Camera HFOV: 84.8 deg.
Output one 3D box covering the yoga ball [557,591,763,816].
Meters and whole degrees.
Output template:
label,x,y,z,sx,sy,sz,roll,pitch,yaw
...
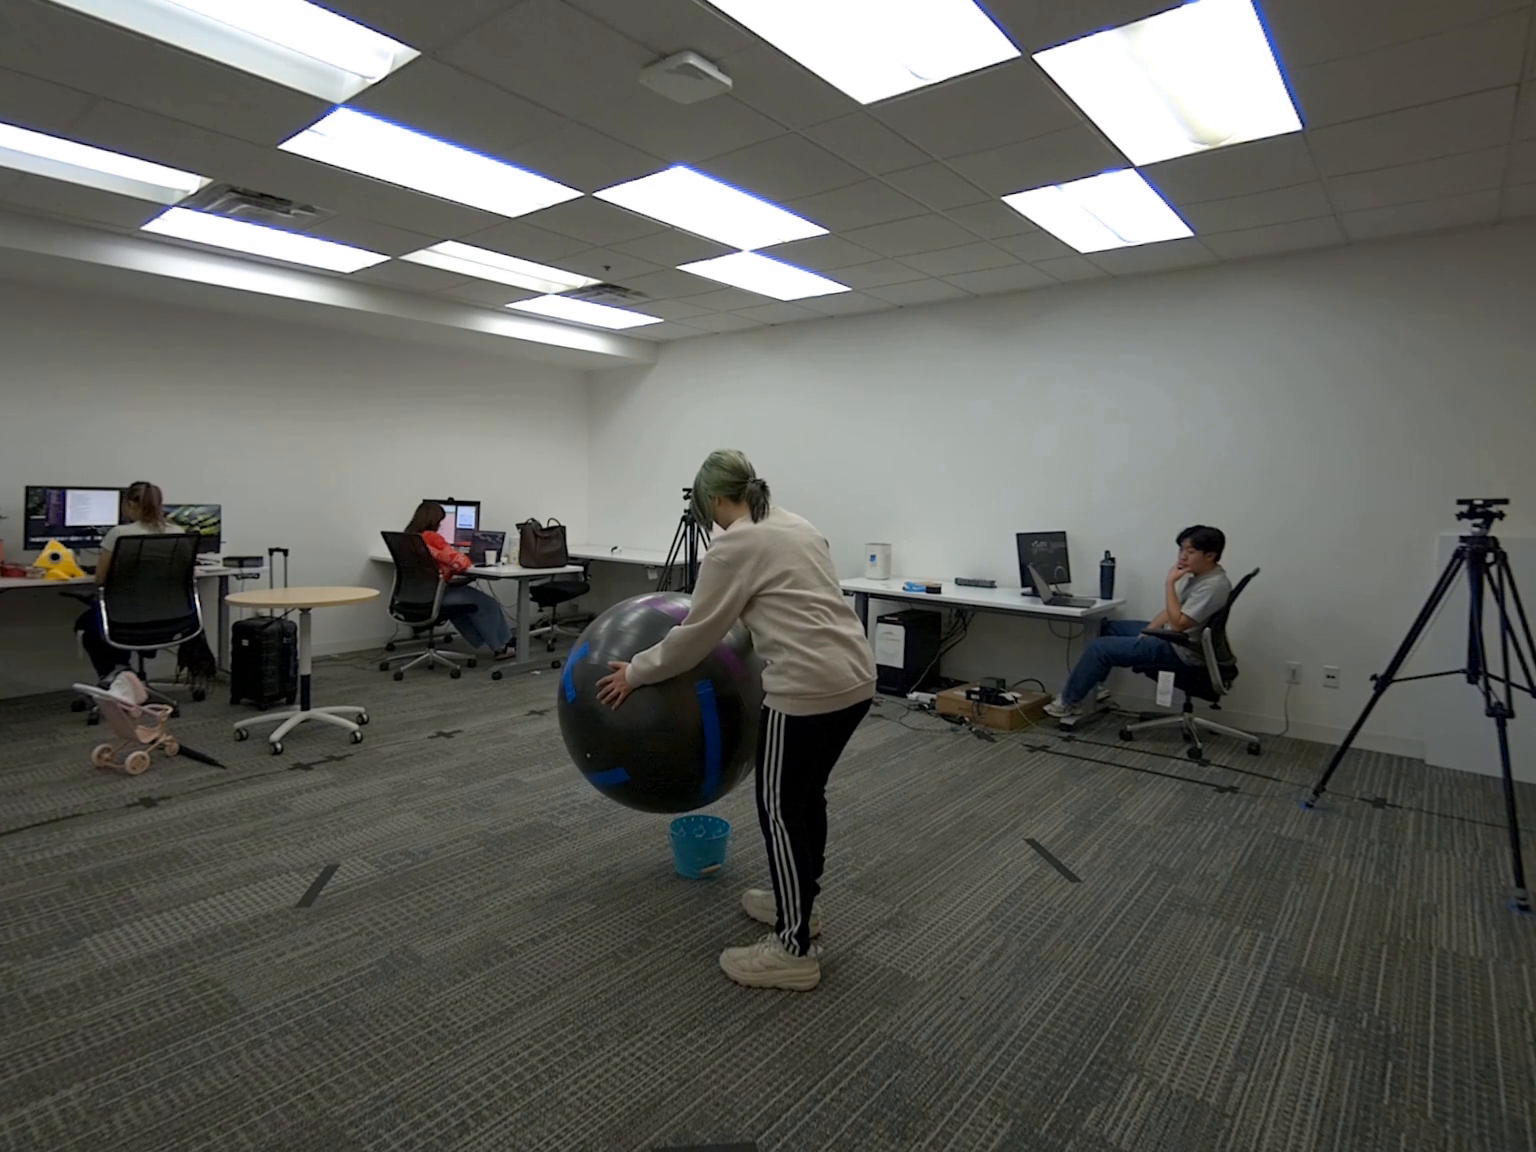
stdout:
label,x,y,z,sx,sy,sz,roll,pitch,yaw
yoga ball,-0.368,0.443,2.979,0.757,0.755,0.762,1,4,-2
